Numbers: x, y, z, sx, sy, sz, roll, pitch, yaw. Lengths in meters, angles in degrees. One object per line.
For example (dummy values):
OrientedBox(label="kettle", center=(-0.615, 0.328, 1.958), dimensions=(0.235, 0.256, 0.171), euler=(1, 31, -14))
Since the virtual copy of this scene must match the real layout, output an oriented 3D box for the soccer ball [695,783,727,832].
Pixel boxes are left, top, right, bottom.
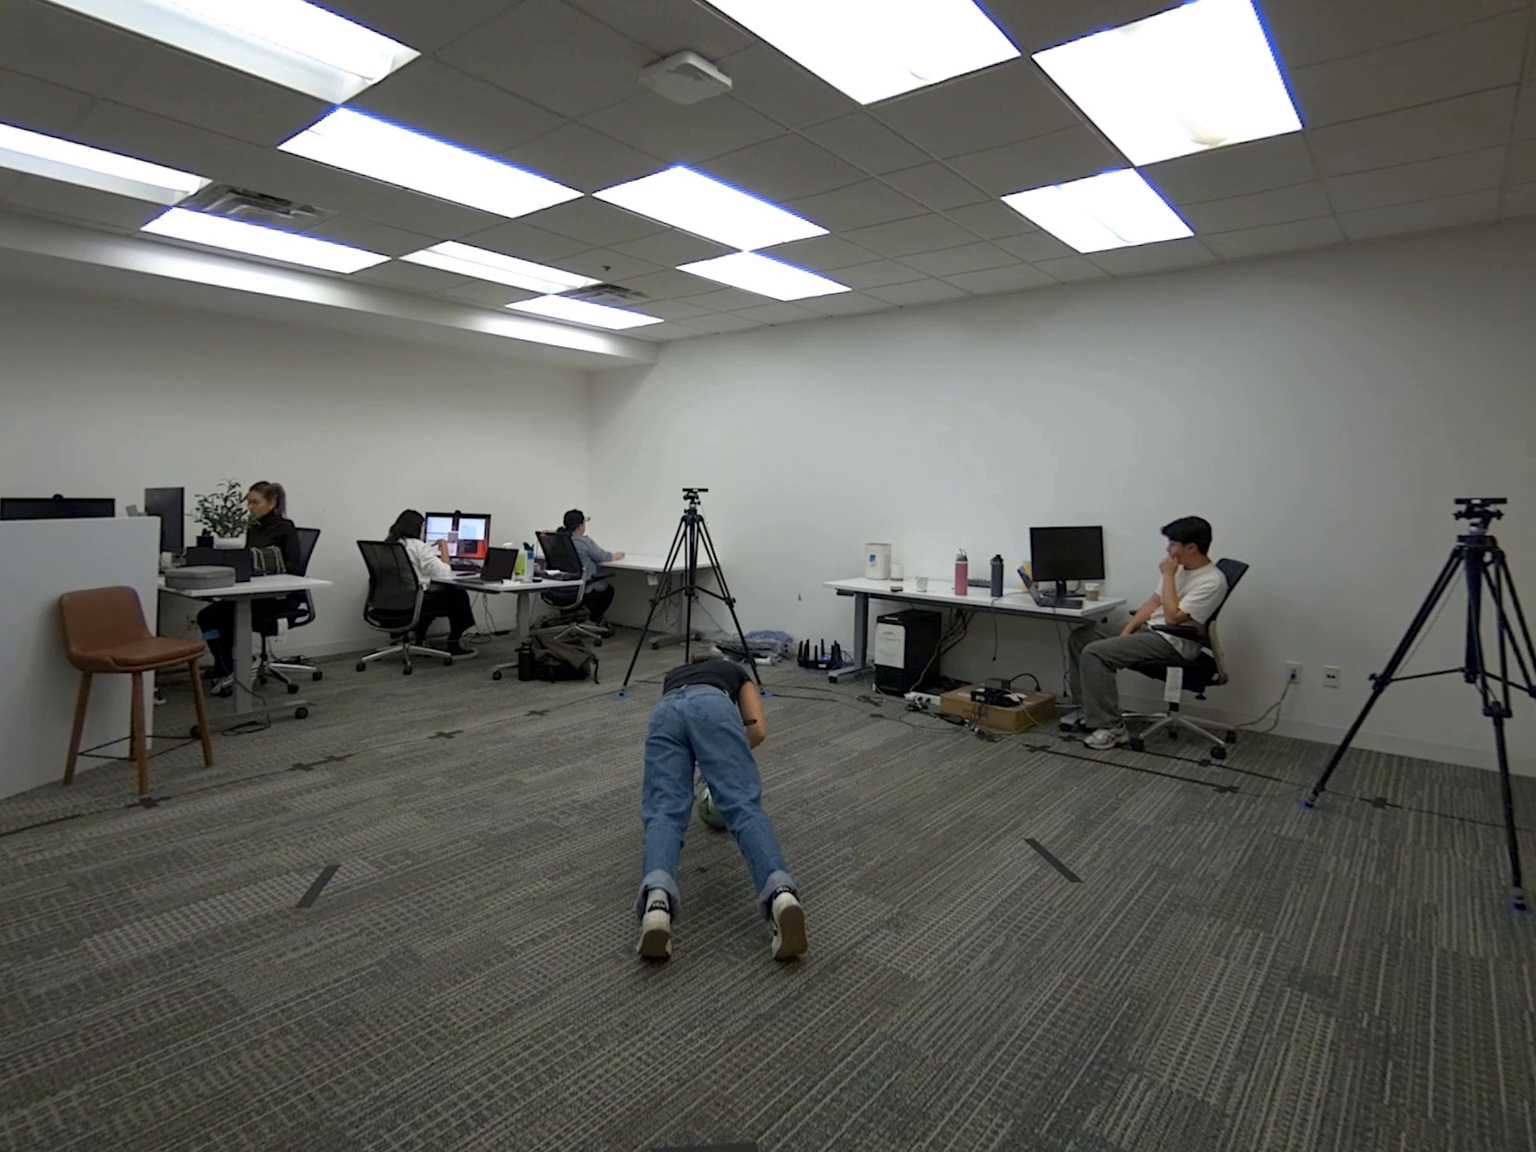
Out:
OrientedBox(label="soccer ball", center=(-0.189, 0.926, 3.501), dimensions=(0.187, 0.187, 0.188), euler=(1, 4, -2))
